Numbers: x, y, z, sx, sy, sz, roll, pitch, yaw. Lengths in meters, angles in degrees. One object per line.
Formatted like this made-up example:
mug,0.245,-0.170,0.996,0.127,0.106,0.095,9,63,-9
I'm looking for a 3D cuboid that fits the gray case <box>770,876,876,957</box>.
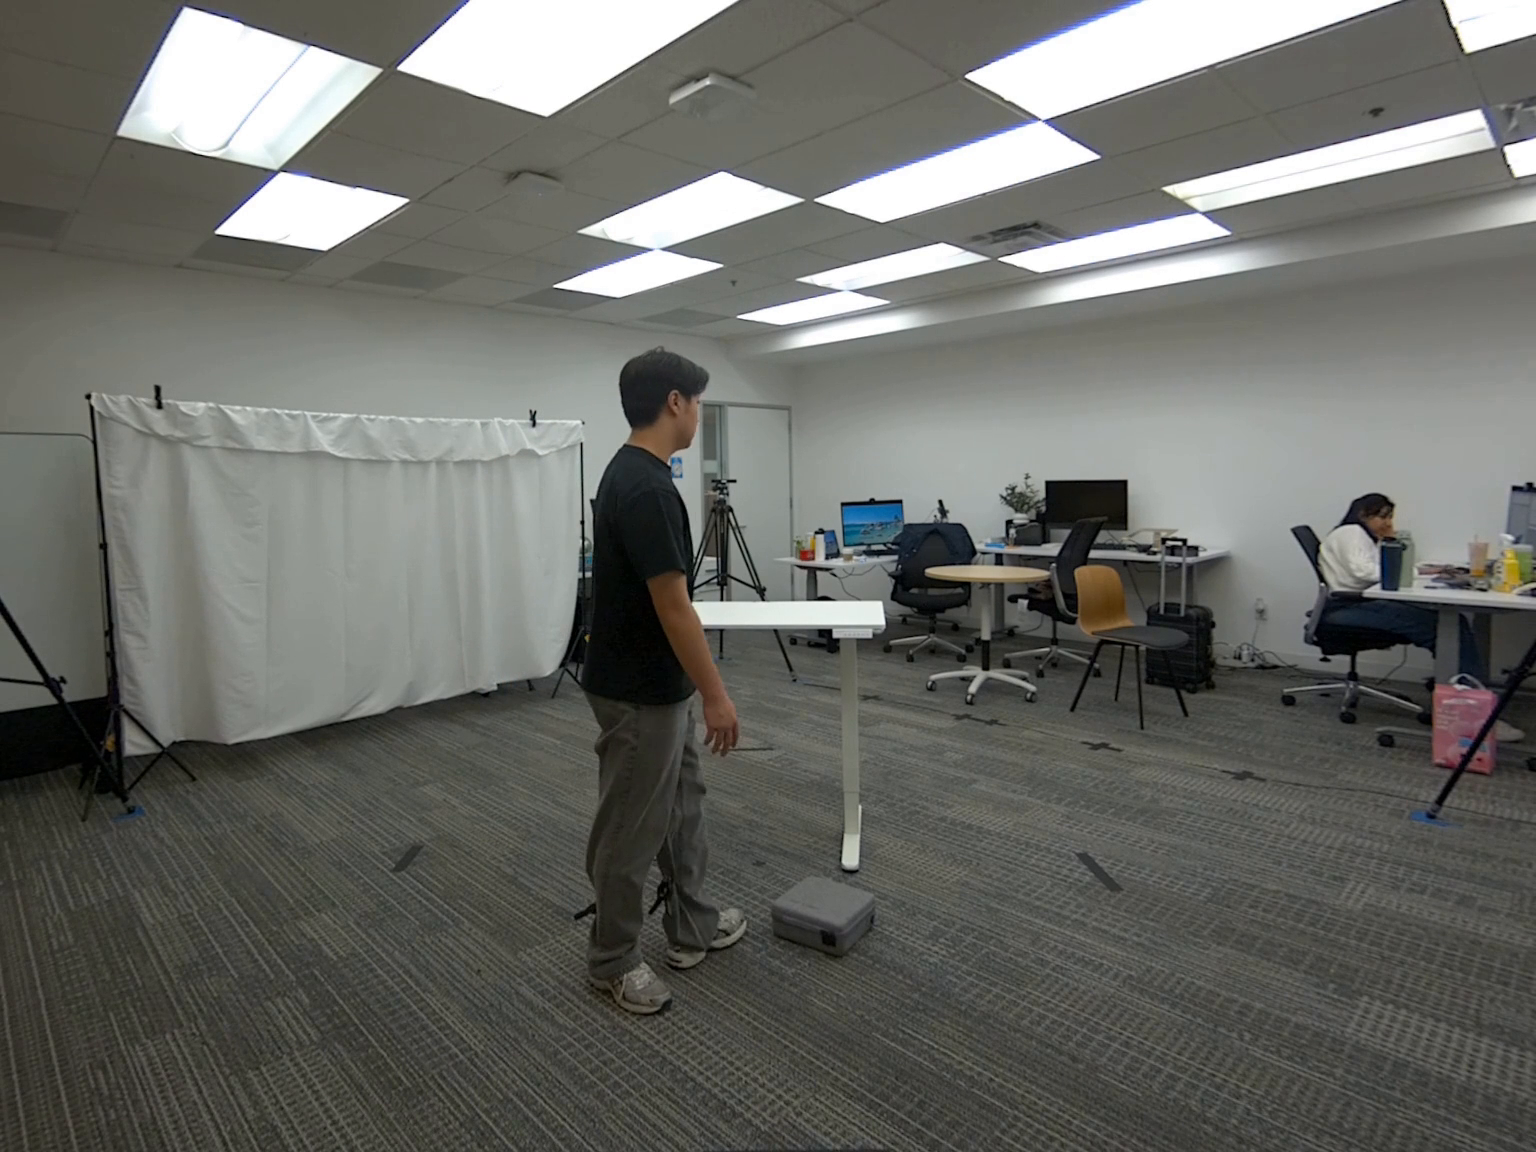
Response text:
gray case,0.186,1.045,2.650,0.271,0.103,0.280,3,6,34
